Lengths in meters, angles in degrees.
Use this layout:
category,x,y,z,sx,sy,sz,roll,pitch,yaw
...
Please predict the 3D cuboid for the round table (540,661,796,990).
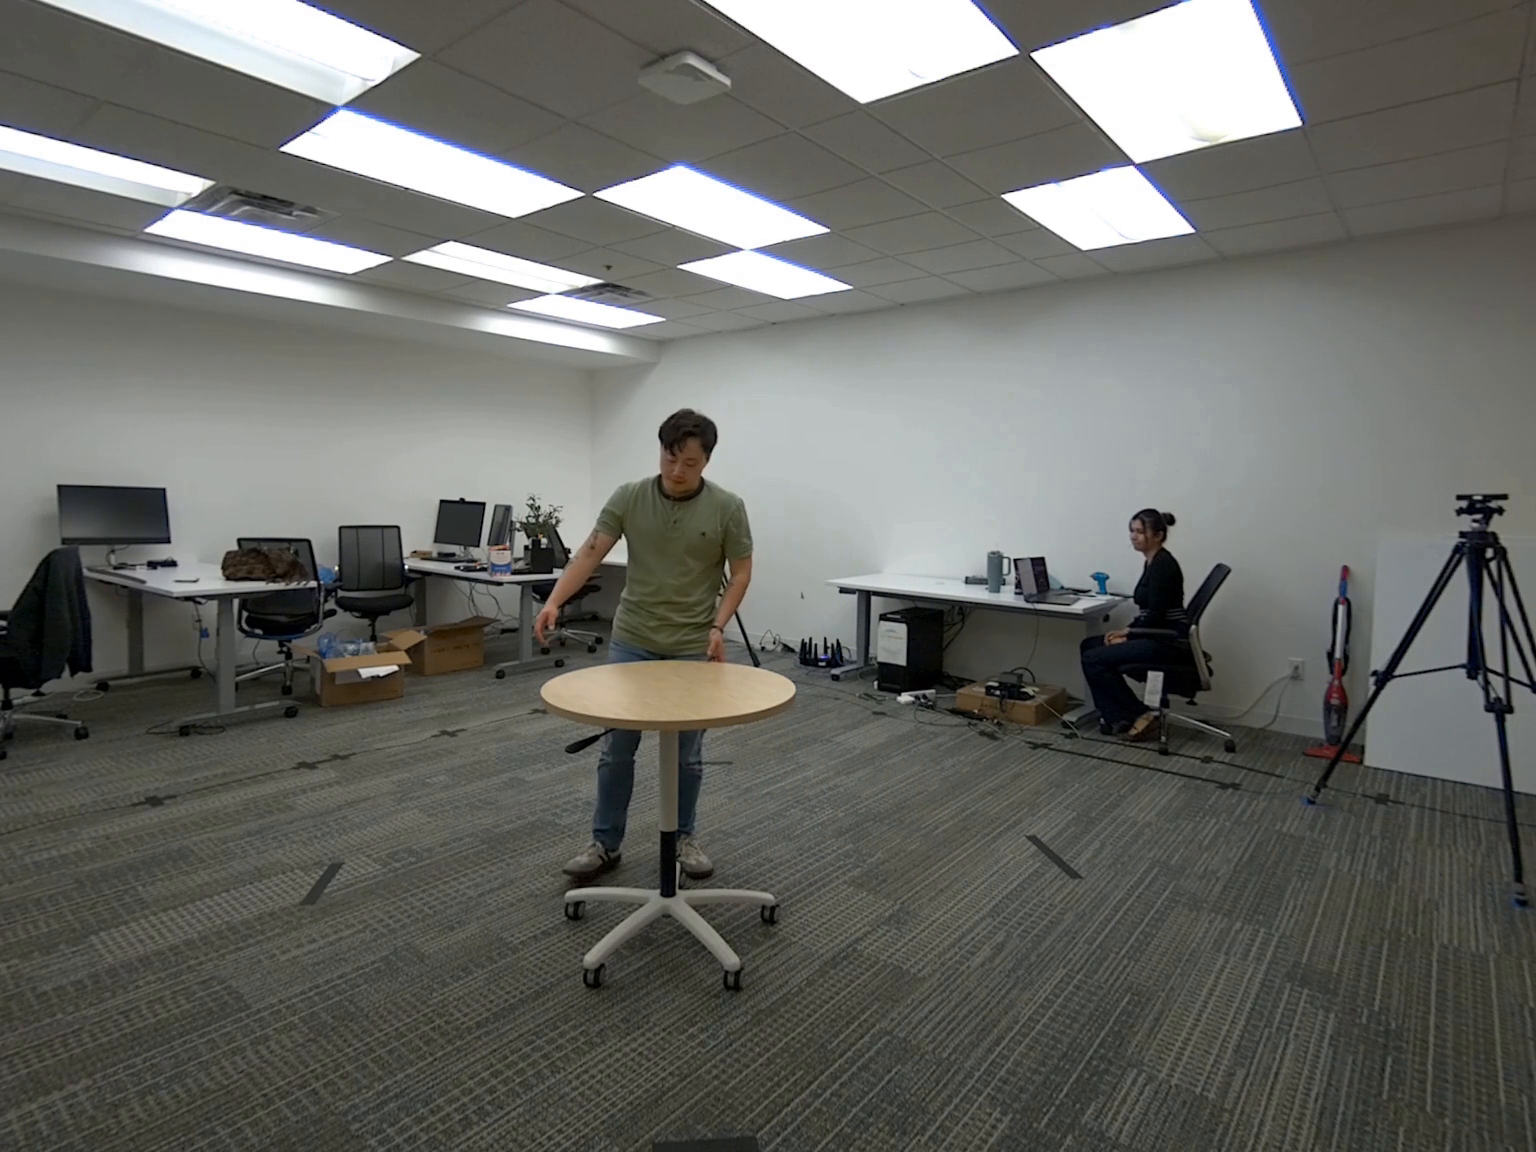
category,x,y,z,sx,sy,sz,roll,pitch,yaw
round table,-0.313,0.726,2.591,0.763,0.791,0.768,0,4,-2
